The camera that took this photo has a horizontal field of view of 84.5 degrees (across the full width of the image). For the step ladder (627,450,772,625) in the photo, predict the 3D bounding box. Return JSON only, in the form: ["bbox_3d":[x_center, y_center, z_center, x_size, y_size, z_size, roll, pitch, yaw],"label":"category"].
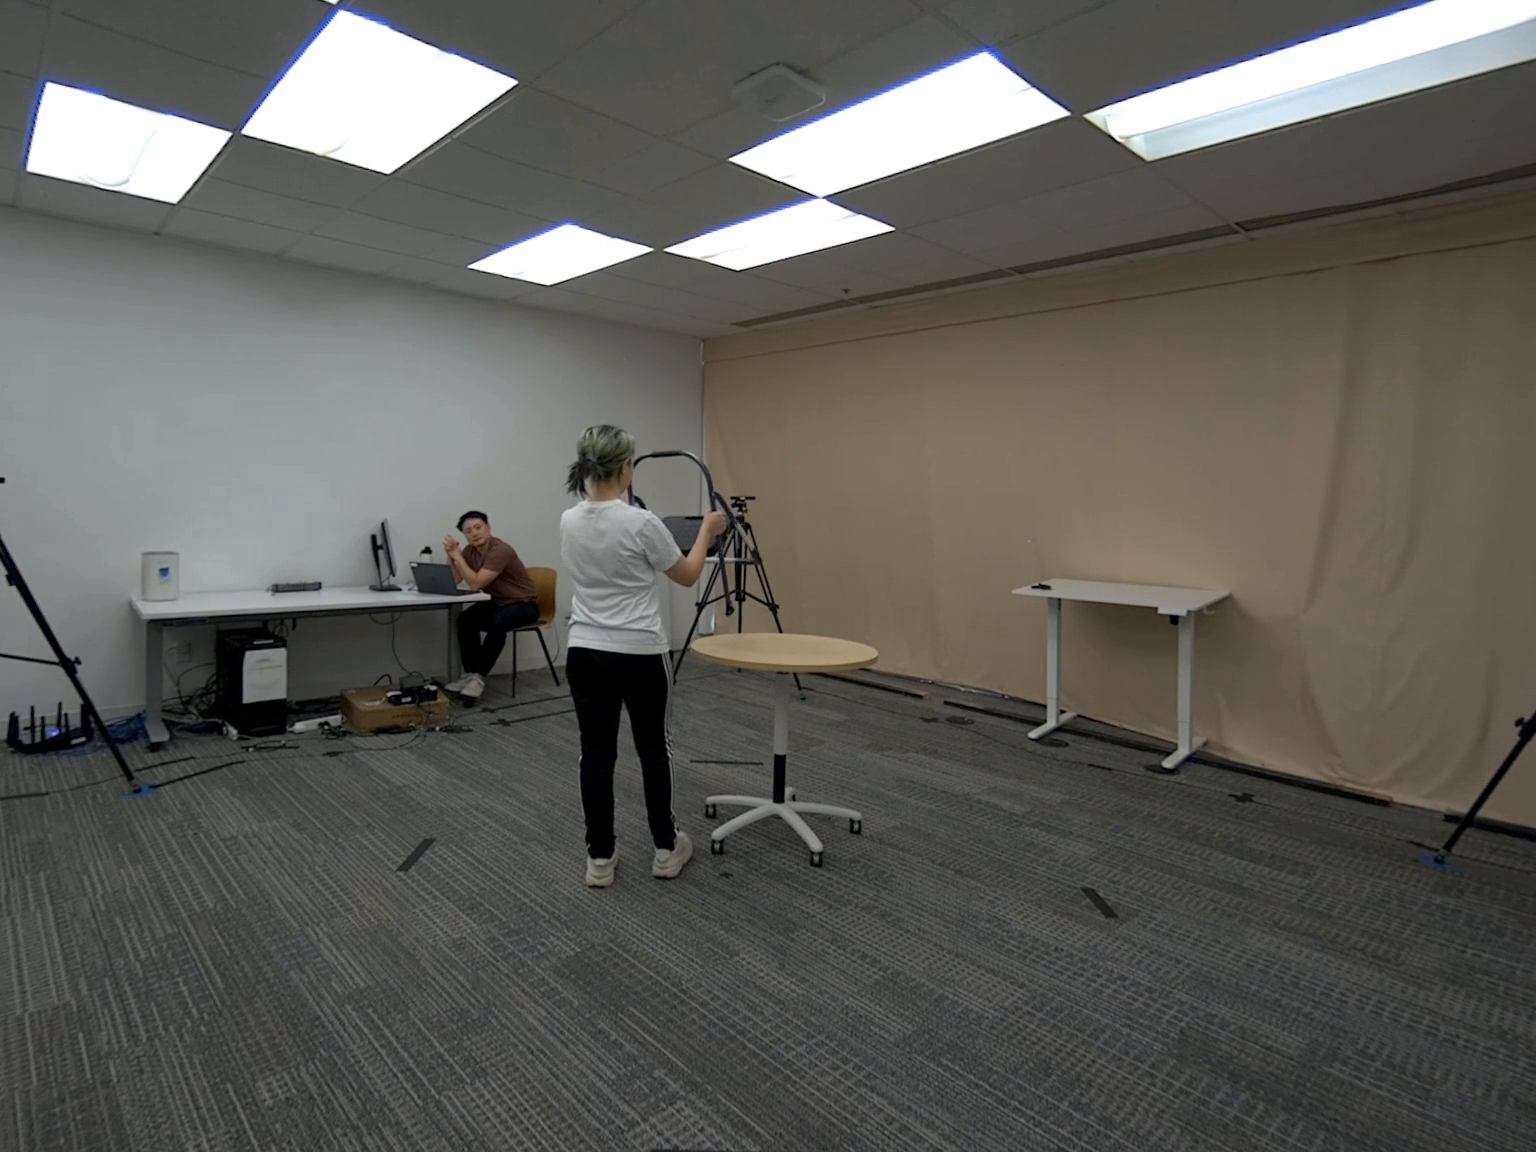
[{"bbox_3d":[-0.356,-0.196,3.371,0.439,0.591,0.351,1,36,29],"label":"step ladder"}]
